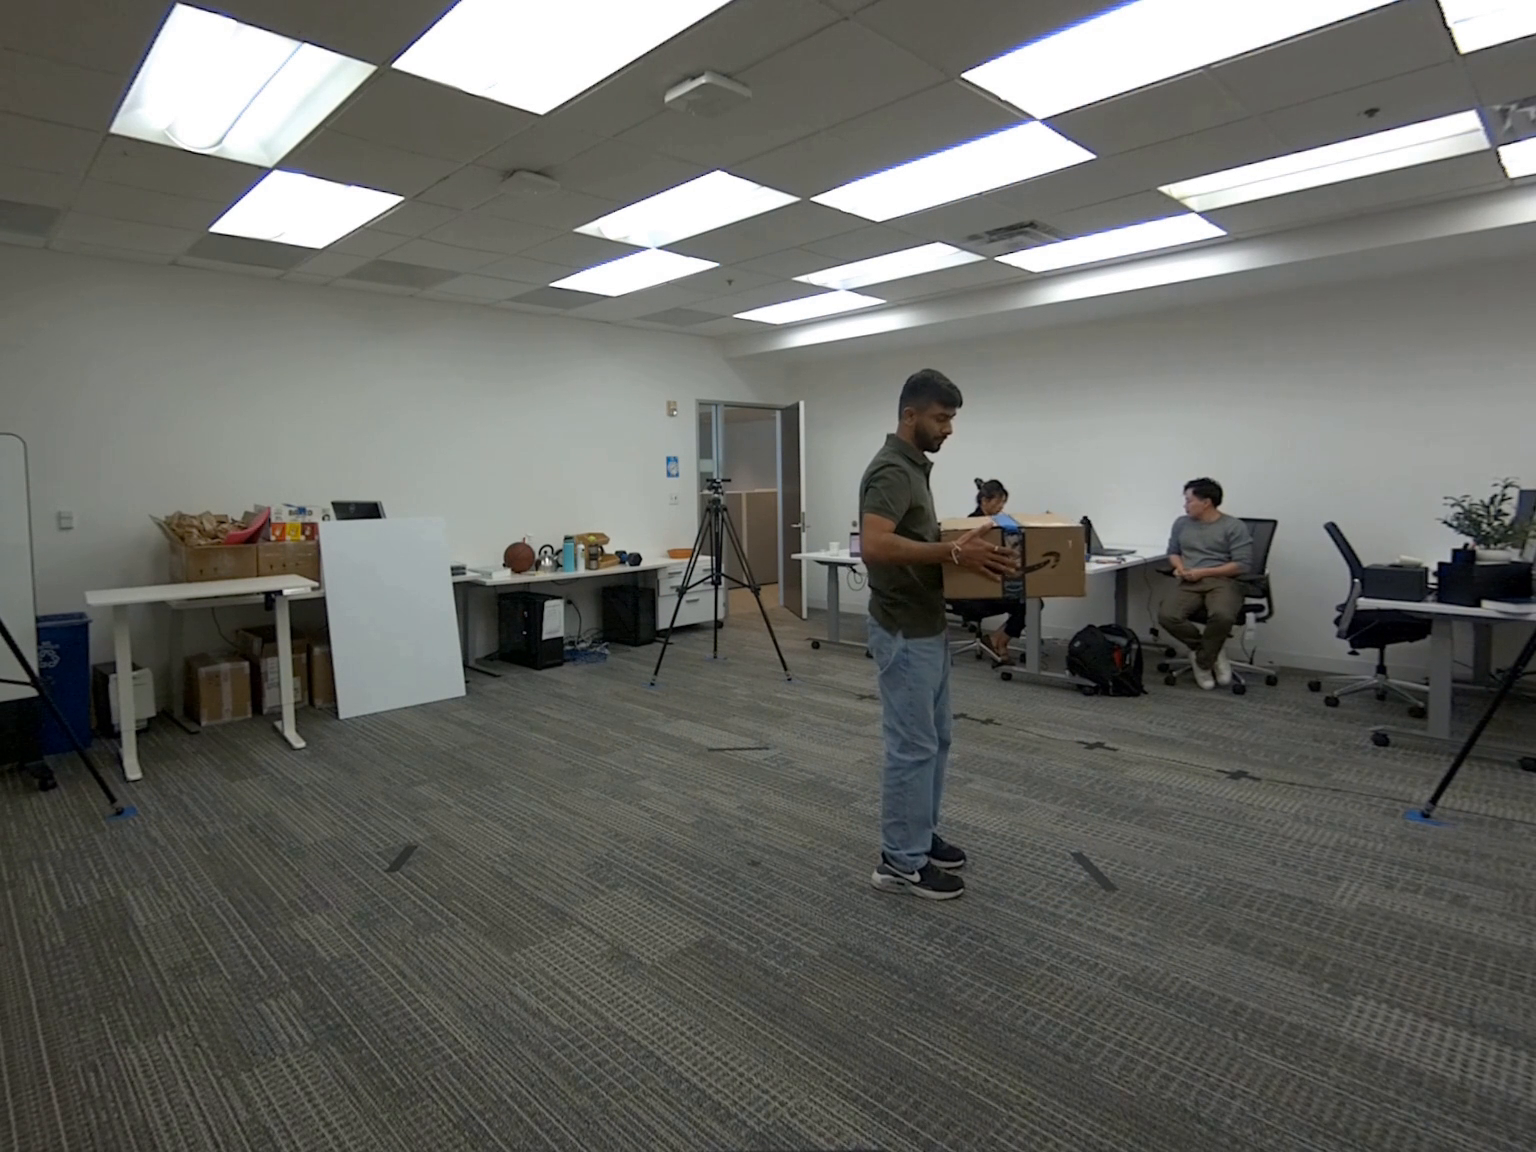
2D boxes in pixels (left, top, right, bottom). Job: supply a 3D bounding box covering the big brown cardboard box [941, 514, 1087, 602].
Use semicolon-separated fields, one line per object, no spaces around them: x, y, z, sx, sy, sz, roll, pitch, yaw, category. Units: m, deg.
0.796;-0.078;2.869;0.422;0.232;0.584;-3;5;12;big brown cardboard box
